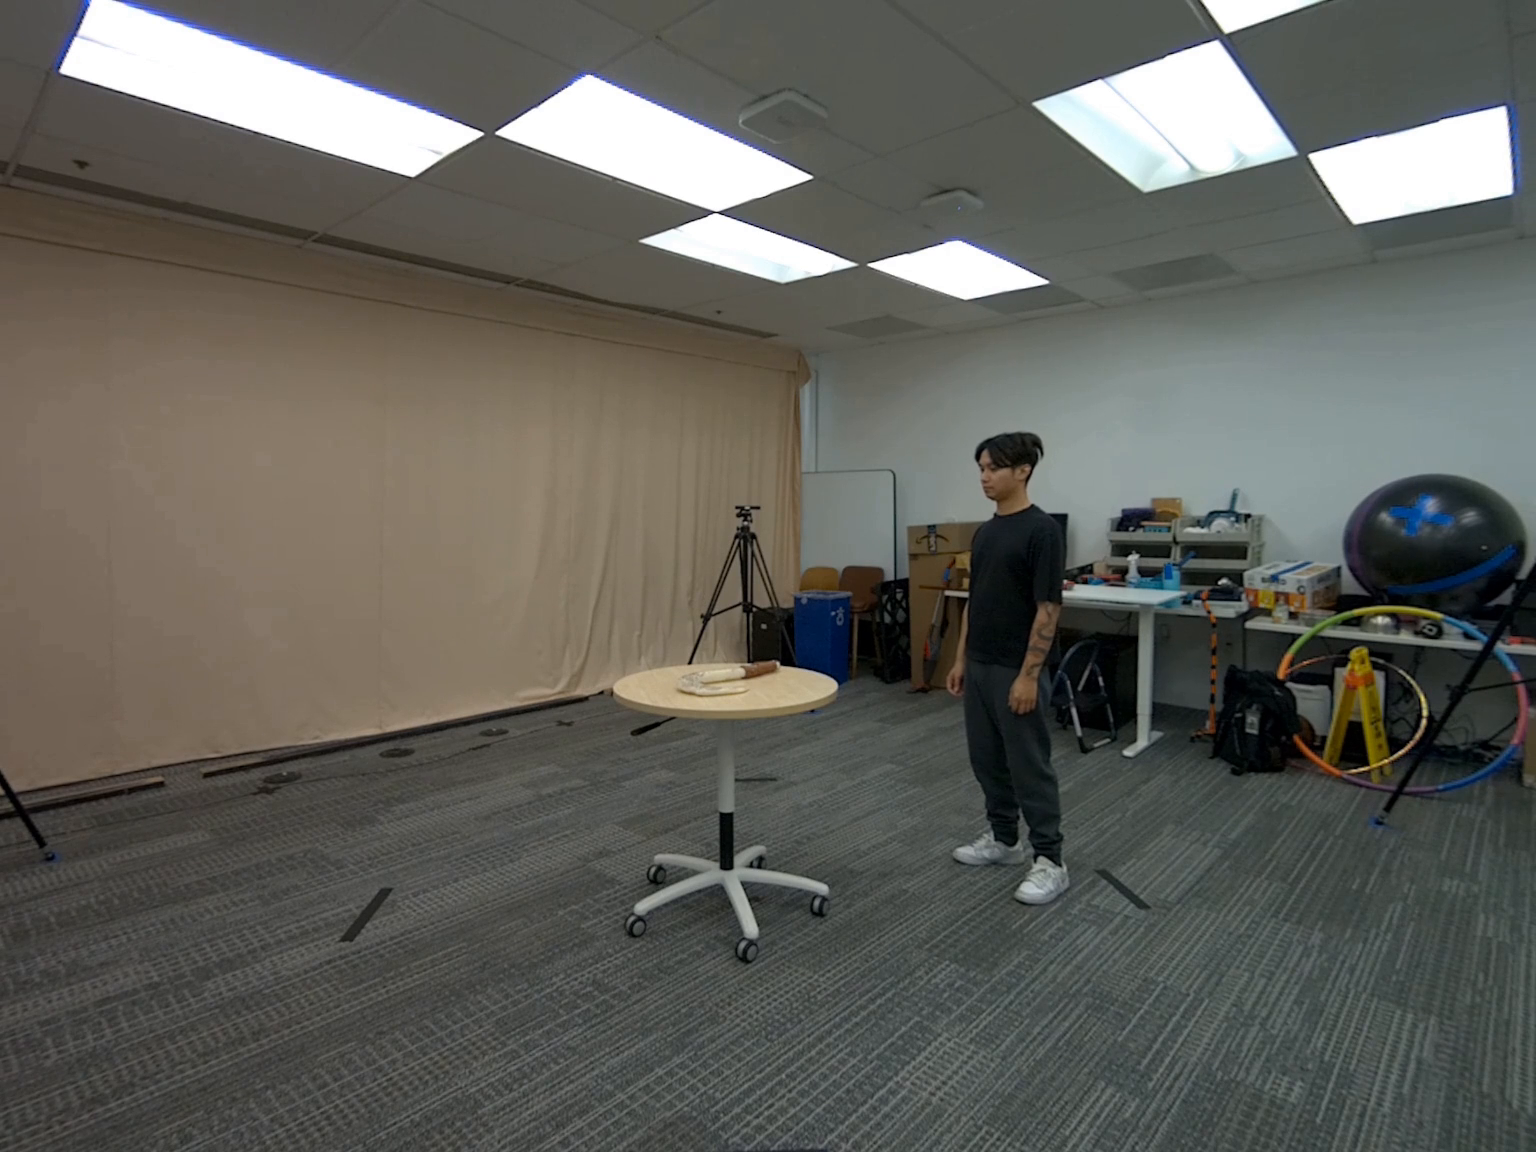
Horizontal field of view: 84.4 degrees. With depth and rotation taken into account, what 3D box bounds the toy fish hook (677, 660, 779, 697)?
[{"bbox_3d":[-0.090,0.359,2.895,0.232,0.048,0.491,11,13,43],"label":"toy fish hook"}]
